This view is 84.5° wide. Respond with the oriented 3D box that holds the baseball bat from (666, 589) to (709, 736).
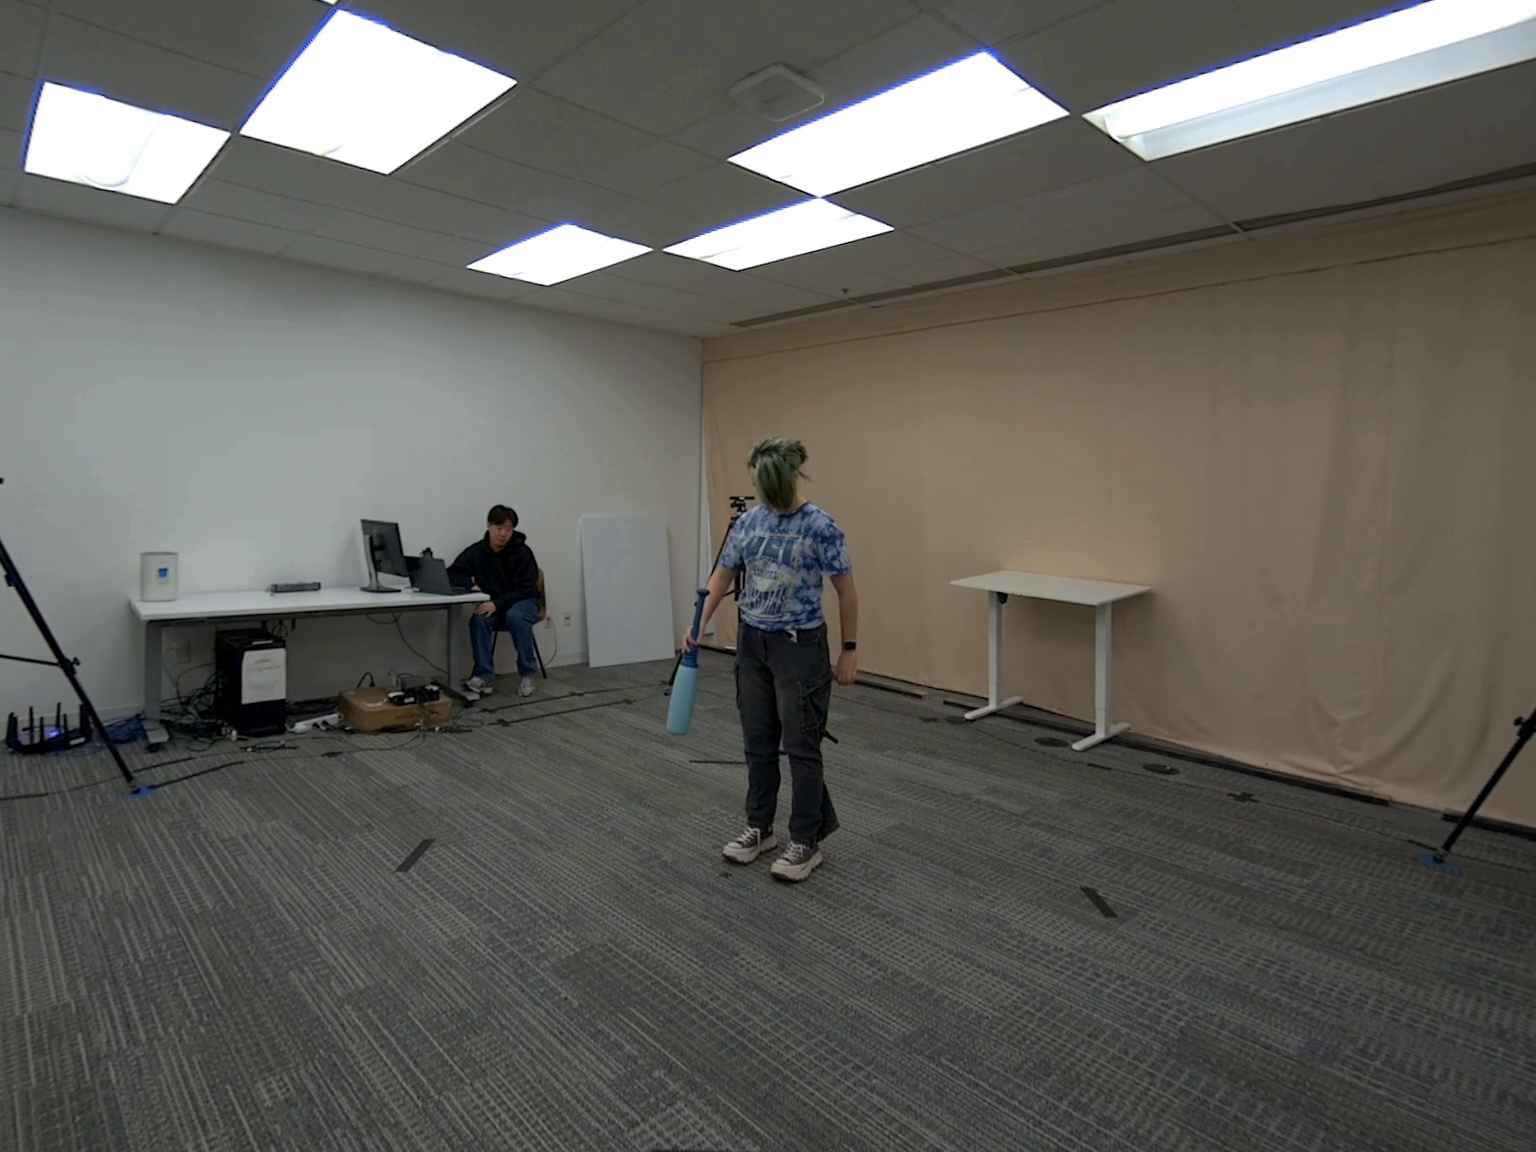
[{"bbox_3d":[-0.279,0.317,3.116,0.089,0.544,0.089,11,-3,-1],"label":"baseball bat"}]
